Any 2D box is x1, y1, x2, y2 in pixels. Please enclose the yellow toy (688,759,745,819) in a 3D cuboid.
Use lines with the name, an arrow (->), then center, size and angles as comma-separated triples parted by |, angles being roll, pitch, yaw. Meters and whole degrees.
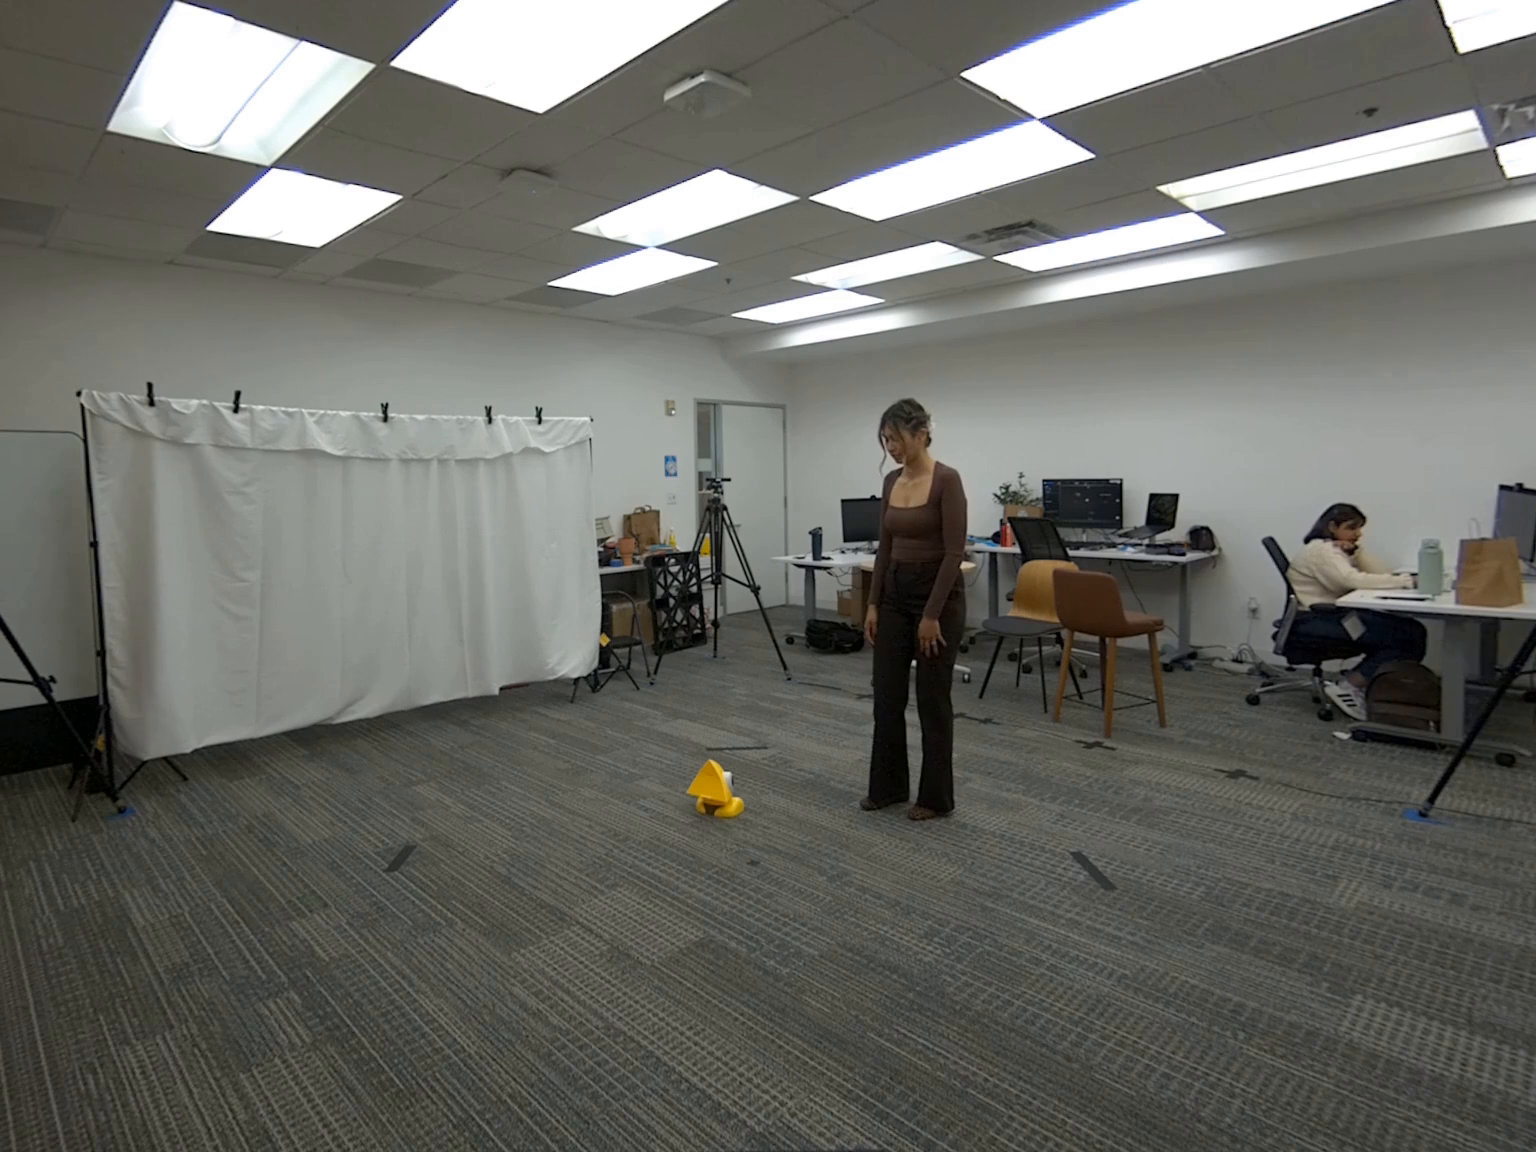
yellow toy -> -0.206, 0.873, 3.612 | 0.210, 0.230, 0.188 | 2, 6, 34
